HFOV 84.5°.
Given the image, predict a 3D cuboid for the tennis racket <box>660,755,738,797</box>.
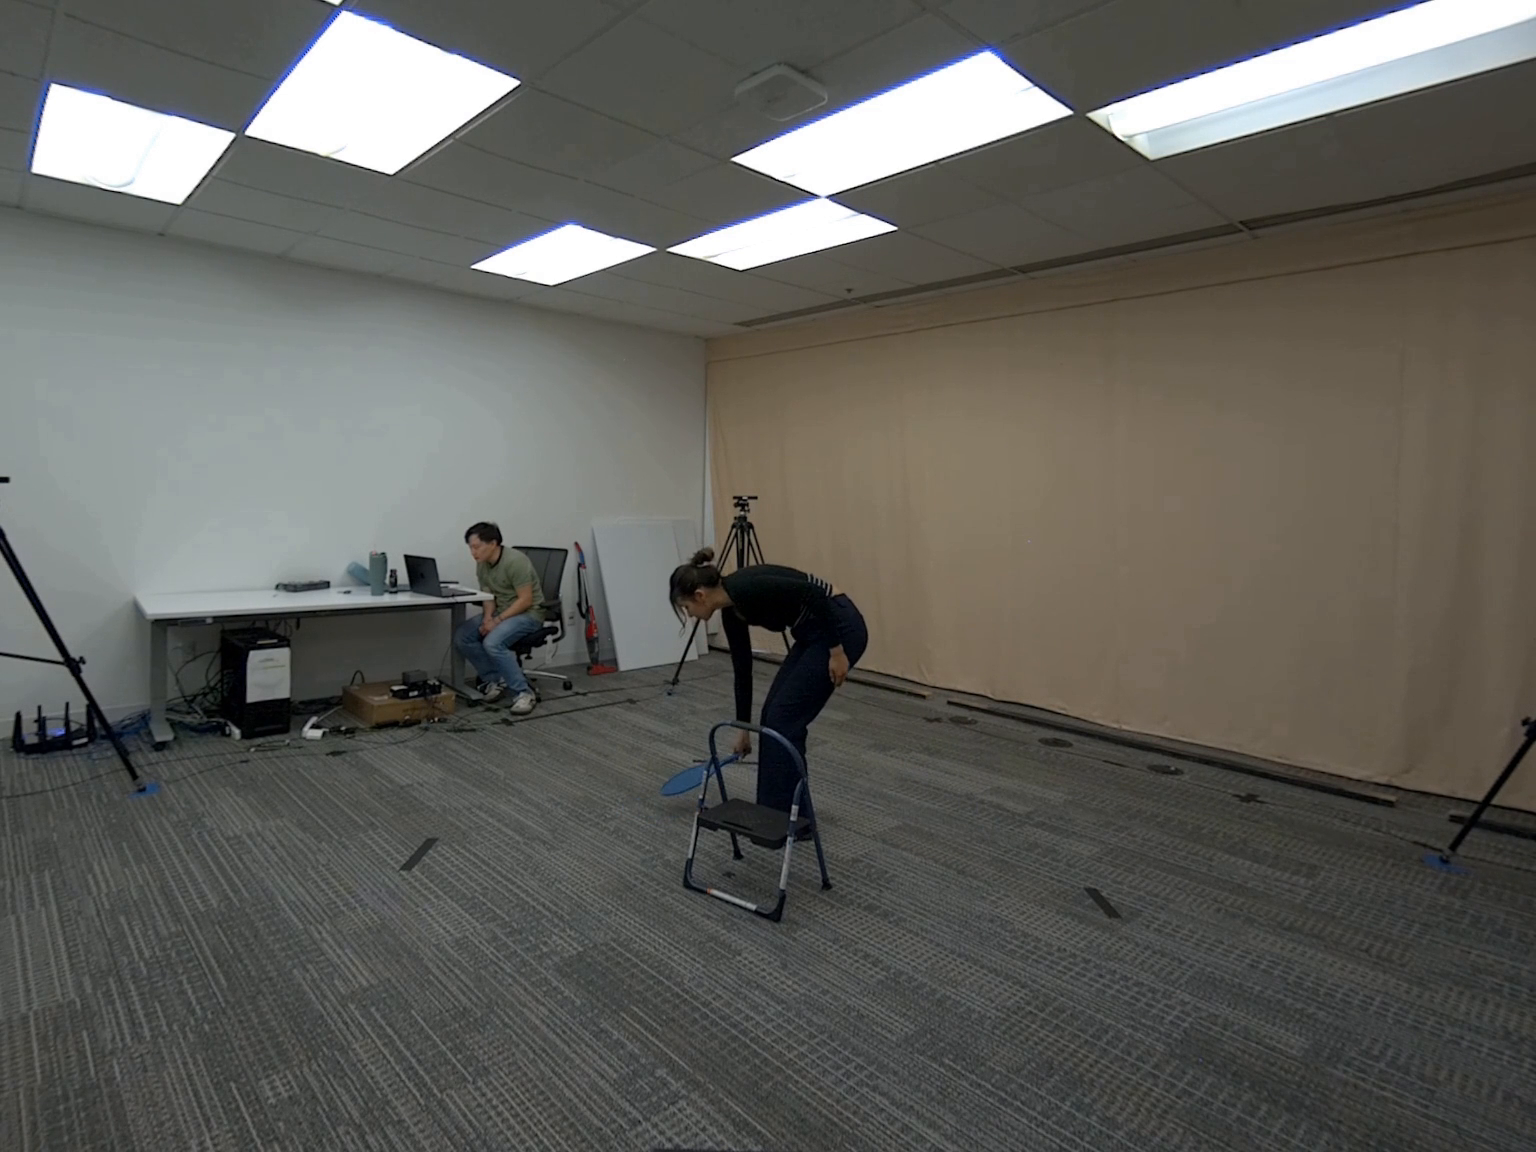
[{"bbox_3d":[-0.280,0.869,3.712,0.433,0.031,0.216,-23,13,0],"label":"tennis racket"}]
